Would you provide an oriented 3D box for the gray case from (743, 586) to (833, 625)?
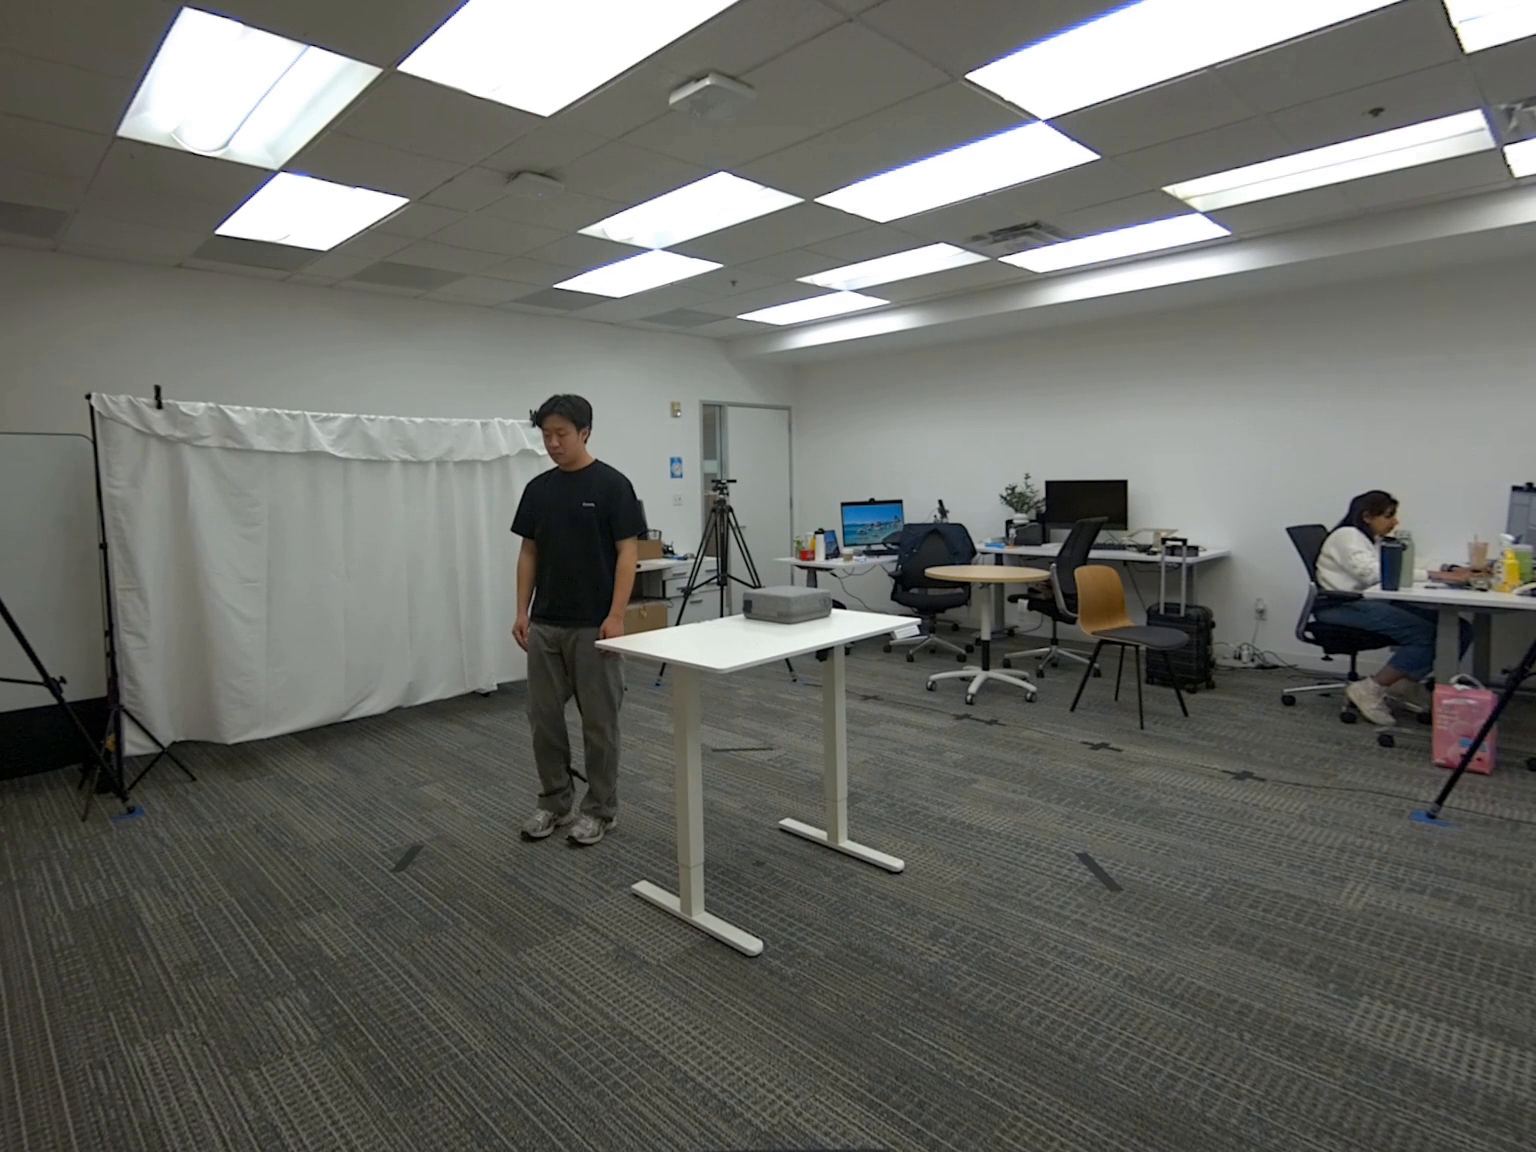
[{"bbox_3d":[0.078,0.101,3.162,0.265,0.104,0.254,3,8,44],"label":"gray case"}]
